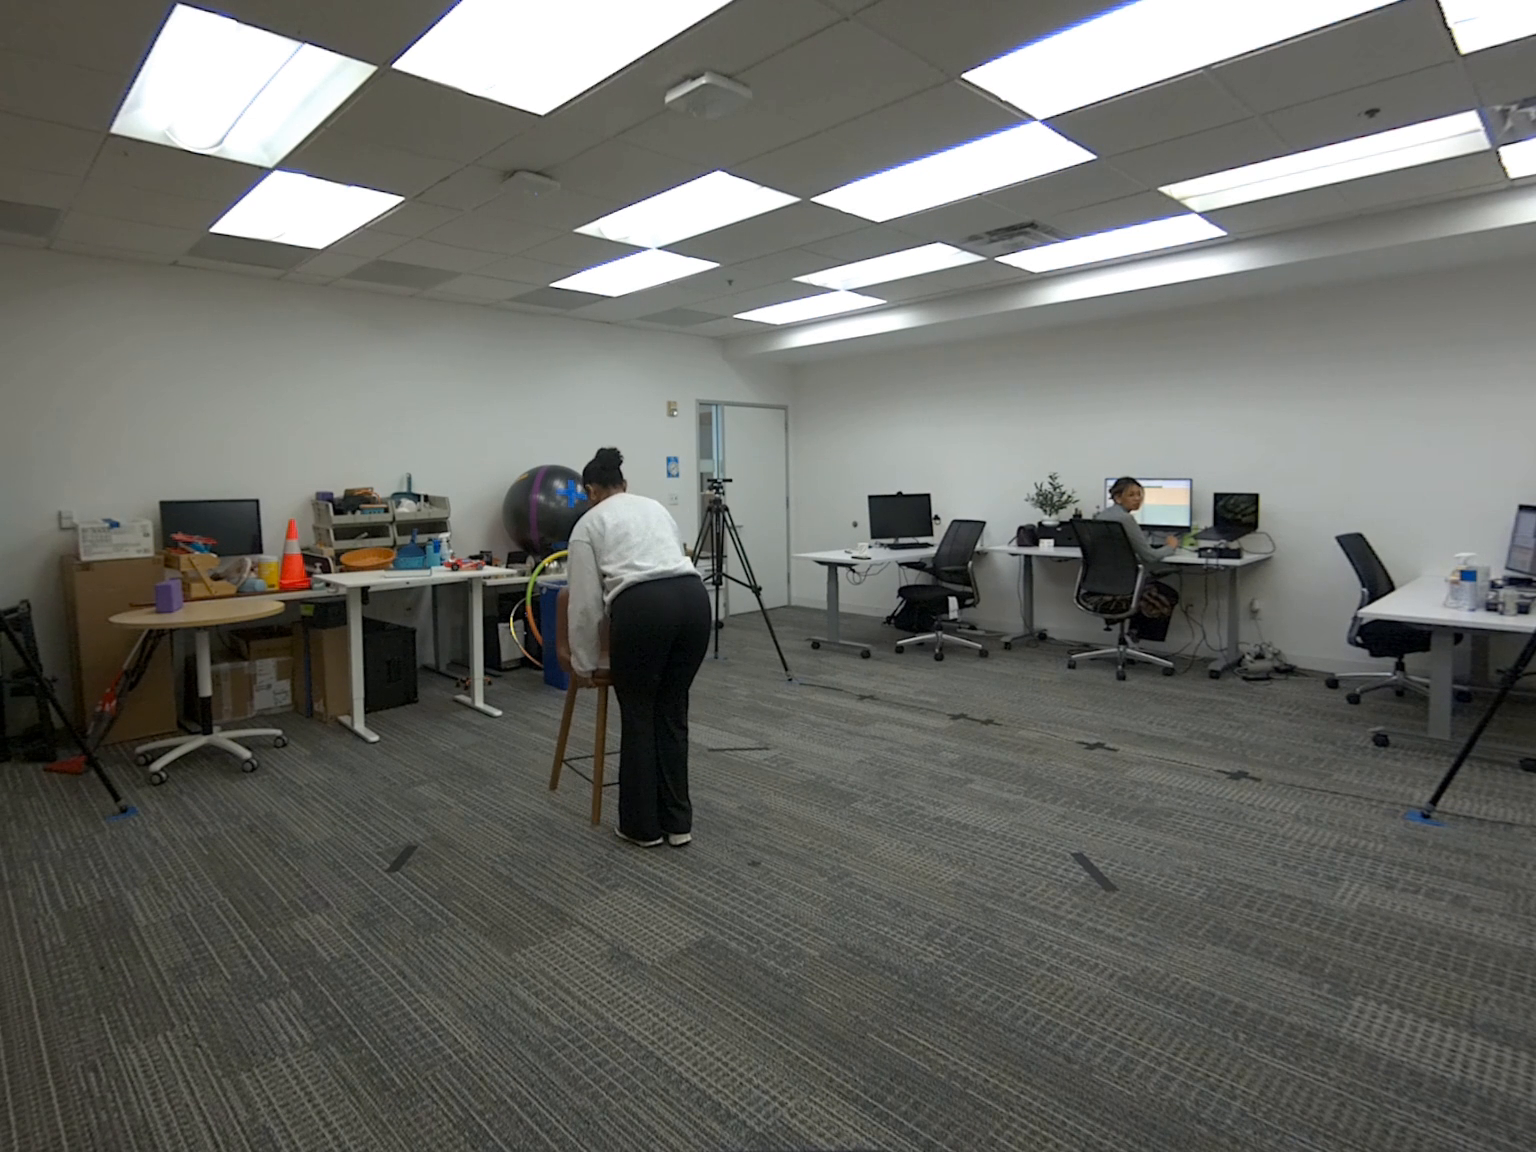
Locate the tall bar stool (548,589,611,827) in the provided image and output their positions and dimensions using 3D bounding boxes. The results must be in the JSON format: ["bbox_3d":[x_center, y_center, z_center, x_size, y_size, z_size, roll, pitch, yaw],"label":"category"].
[{"bbox_3d":[-0.632,0.500,3.571,0.443,0.889,0.482,1,2,-37],"label":"tall bar stool"}]
